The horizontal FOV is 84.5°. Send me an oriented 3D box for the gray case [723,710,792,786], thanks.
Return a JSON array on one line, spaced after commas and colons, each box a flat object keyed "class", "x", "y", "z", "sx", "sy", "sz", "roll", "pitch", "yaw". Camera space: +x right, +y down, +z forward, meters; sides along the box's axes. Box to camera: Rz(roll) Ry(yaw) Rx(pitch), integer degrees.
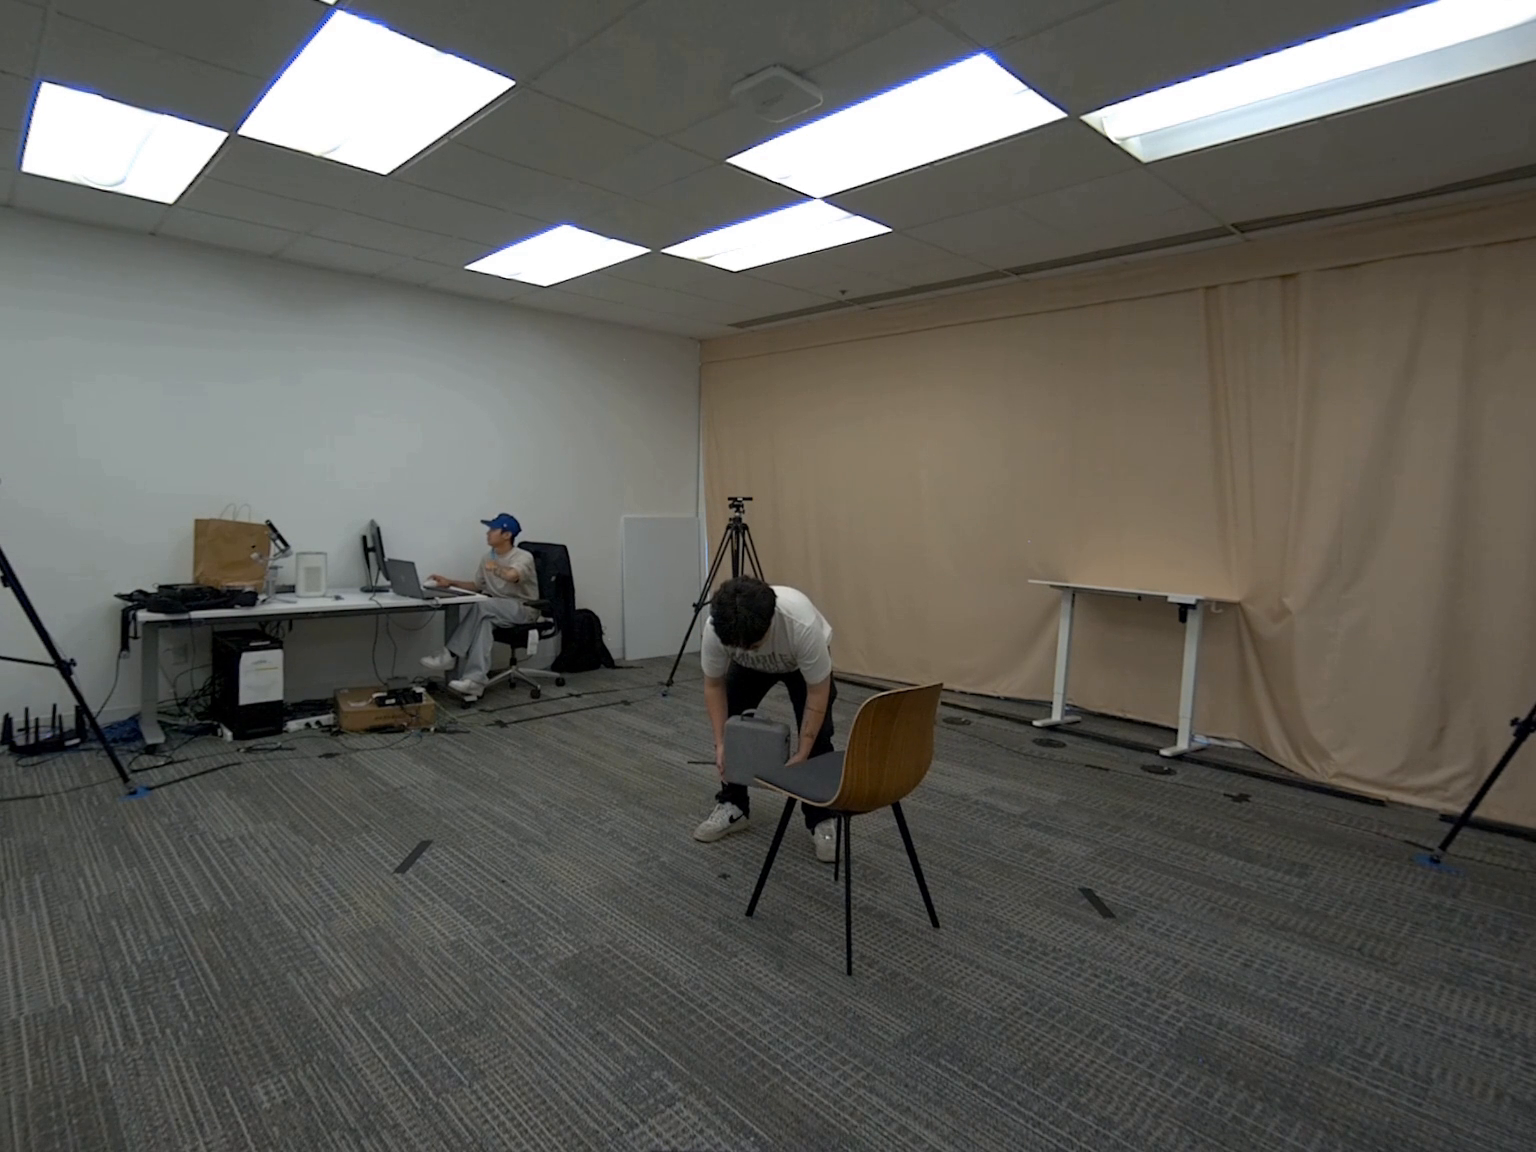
[{"class": "gray case", "x": -0.056, "y": 0.673, "z": 3.234, "sx": 0.260, "sy": 0.259, "sz": 0.103, "roll": 4, "pitch": 8, "yaw": 17}]
